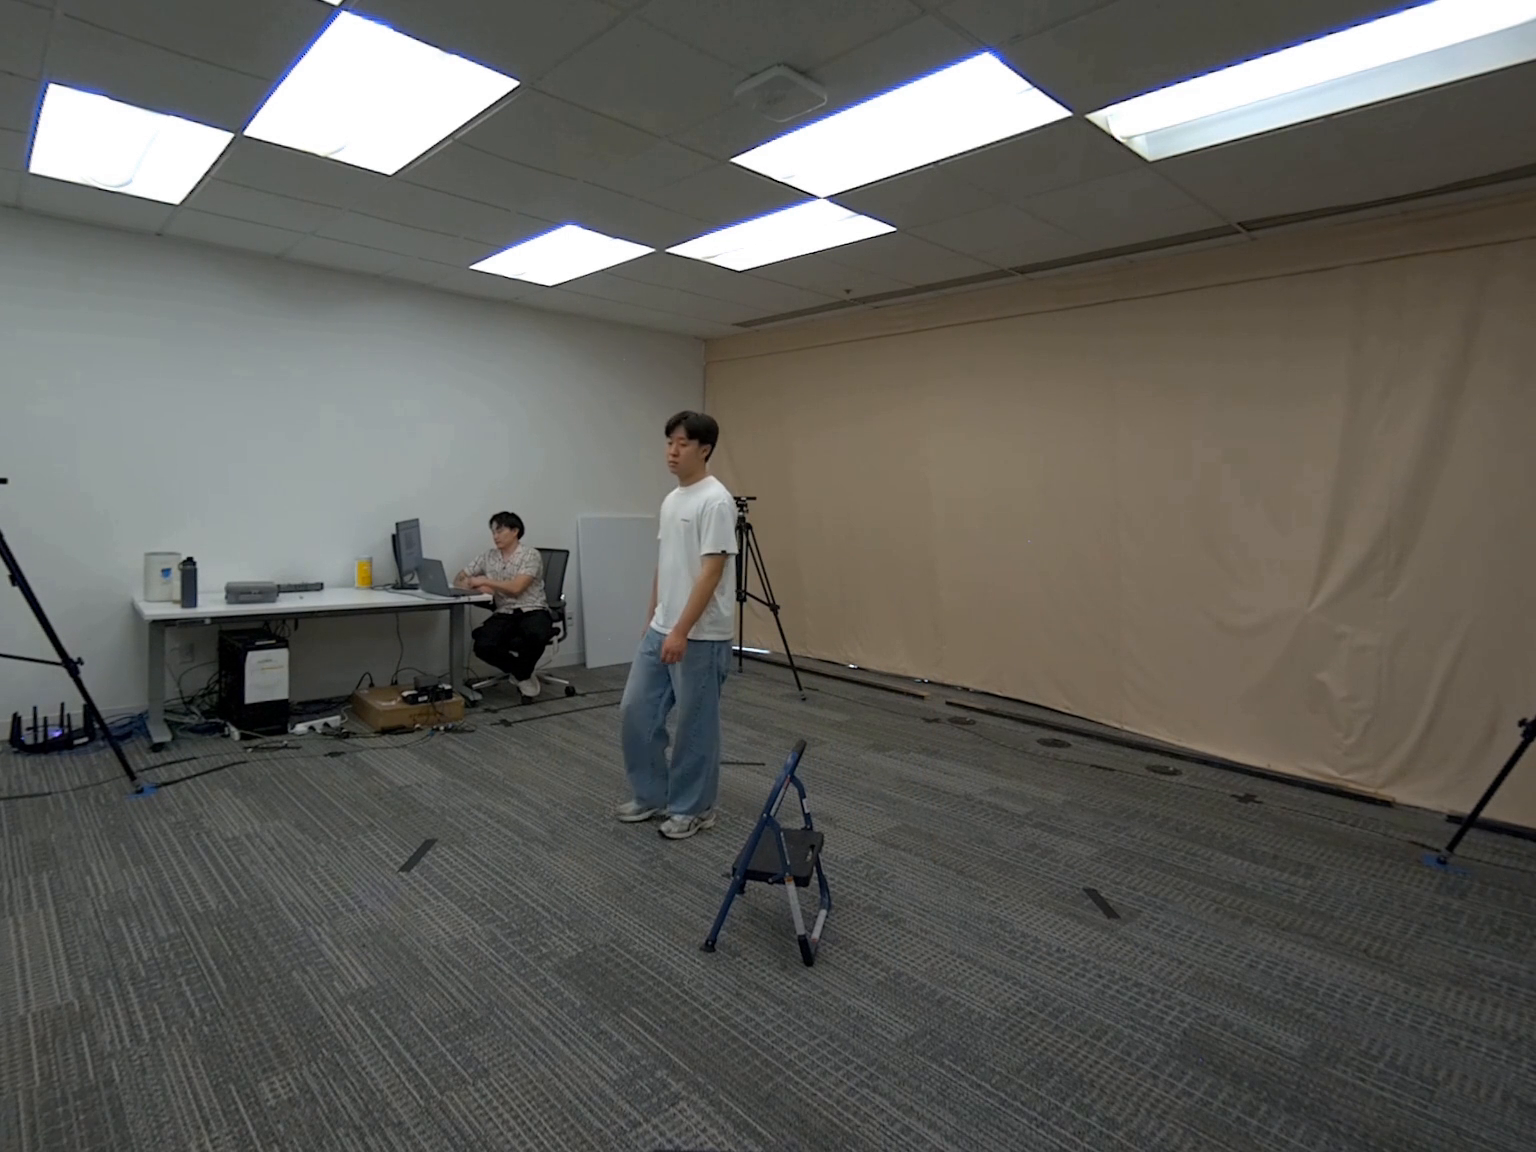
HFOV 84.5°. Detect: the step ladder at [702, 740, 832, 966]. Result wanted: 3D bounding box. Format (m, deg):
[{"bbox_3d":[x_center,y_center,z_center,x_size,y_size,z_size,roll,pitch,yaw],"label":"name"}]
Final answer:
[{"bbox_3d":[0.014,0.841,2.723,0.353,0.604,0.427,2,4,12],"label":"step ladder"}]
